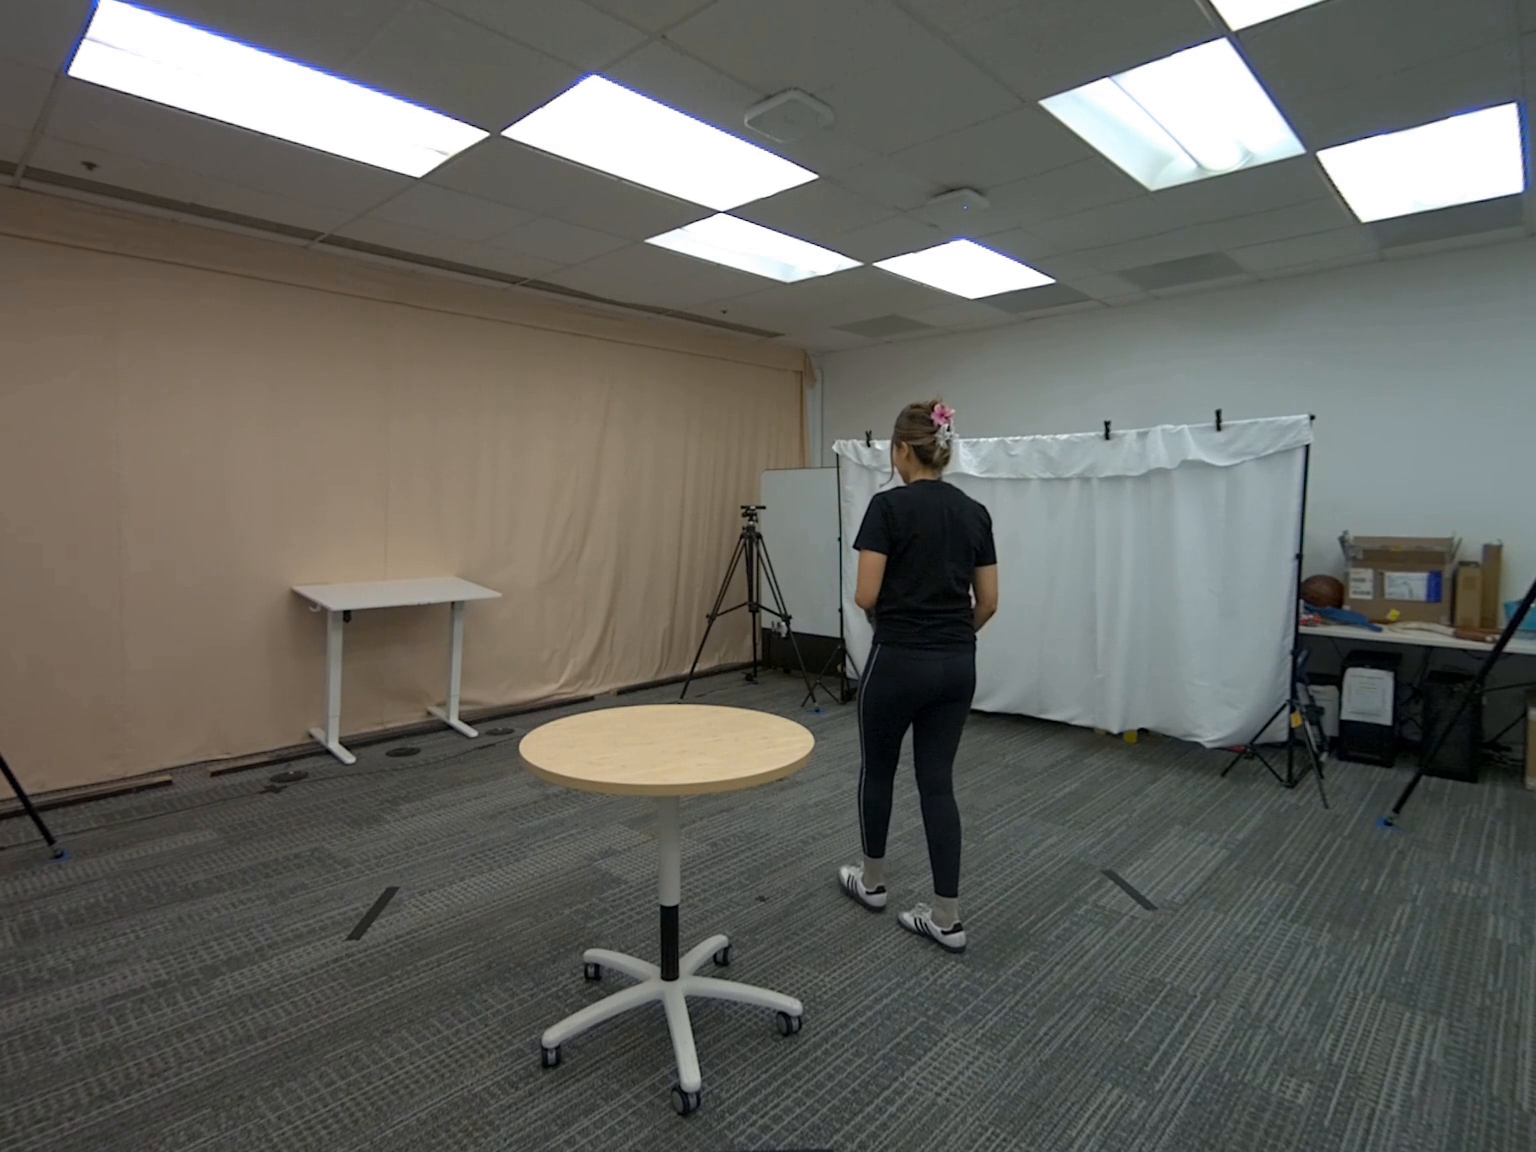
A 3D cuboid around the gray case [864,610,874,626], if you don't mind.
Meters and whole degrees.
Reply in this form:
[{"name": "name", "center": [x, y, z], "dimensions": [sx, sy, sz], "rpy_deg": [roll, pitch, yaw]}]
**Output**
[{"name": "gray case", "center": [0.490, 0.171, 2.983], "dimensions": [0.251, 0.260, 0.107], "rpy_deg": [-24, 5, -39]}]
